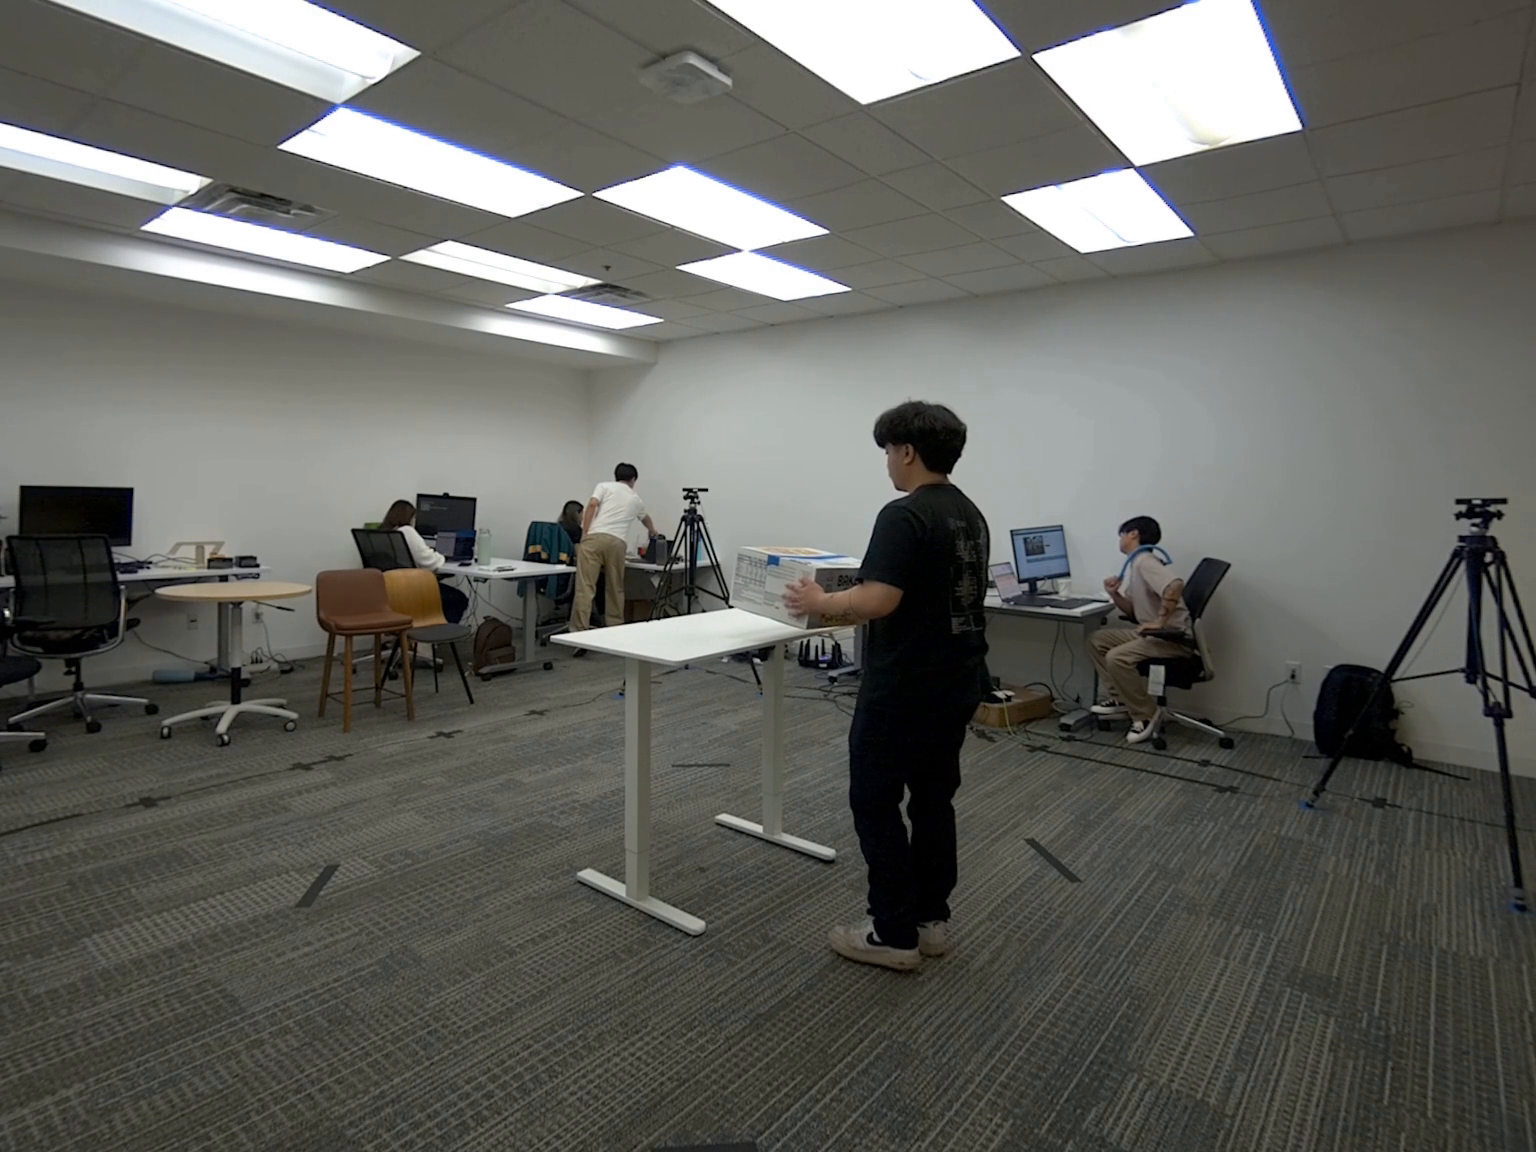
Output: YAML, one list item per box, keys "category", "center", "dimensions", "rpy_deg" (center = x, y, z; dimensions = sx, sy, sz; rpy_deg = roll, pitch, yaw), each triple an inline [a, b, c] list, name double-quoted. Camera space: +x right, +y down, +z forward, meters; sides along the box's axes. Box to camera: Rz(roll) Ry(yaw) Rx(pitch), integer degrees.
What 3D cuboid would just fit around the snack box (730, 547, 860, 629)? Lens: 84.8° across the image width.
- category: "snack box"
  center: [0.126, 0.035, 2.898]
  dimensions: [0.353, 0.204, 0.392]
  rpy_deg: [14, 10, 41]
